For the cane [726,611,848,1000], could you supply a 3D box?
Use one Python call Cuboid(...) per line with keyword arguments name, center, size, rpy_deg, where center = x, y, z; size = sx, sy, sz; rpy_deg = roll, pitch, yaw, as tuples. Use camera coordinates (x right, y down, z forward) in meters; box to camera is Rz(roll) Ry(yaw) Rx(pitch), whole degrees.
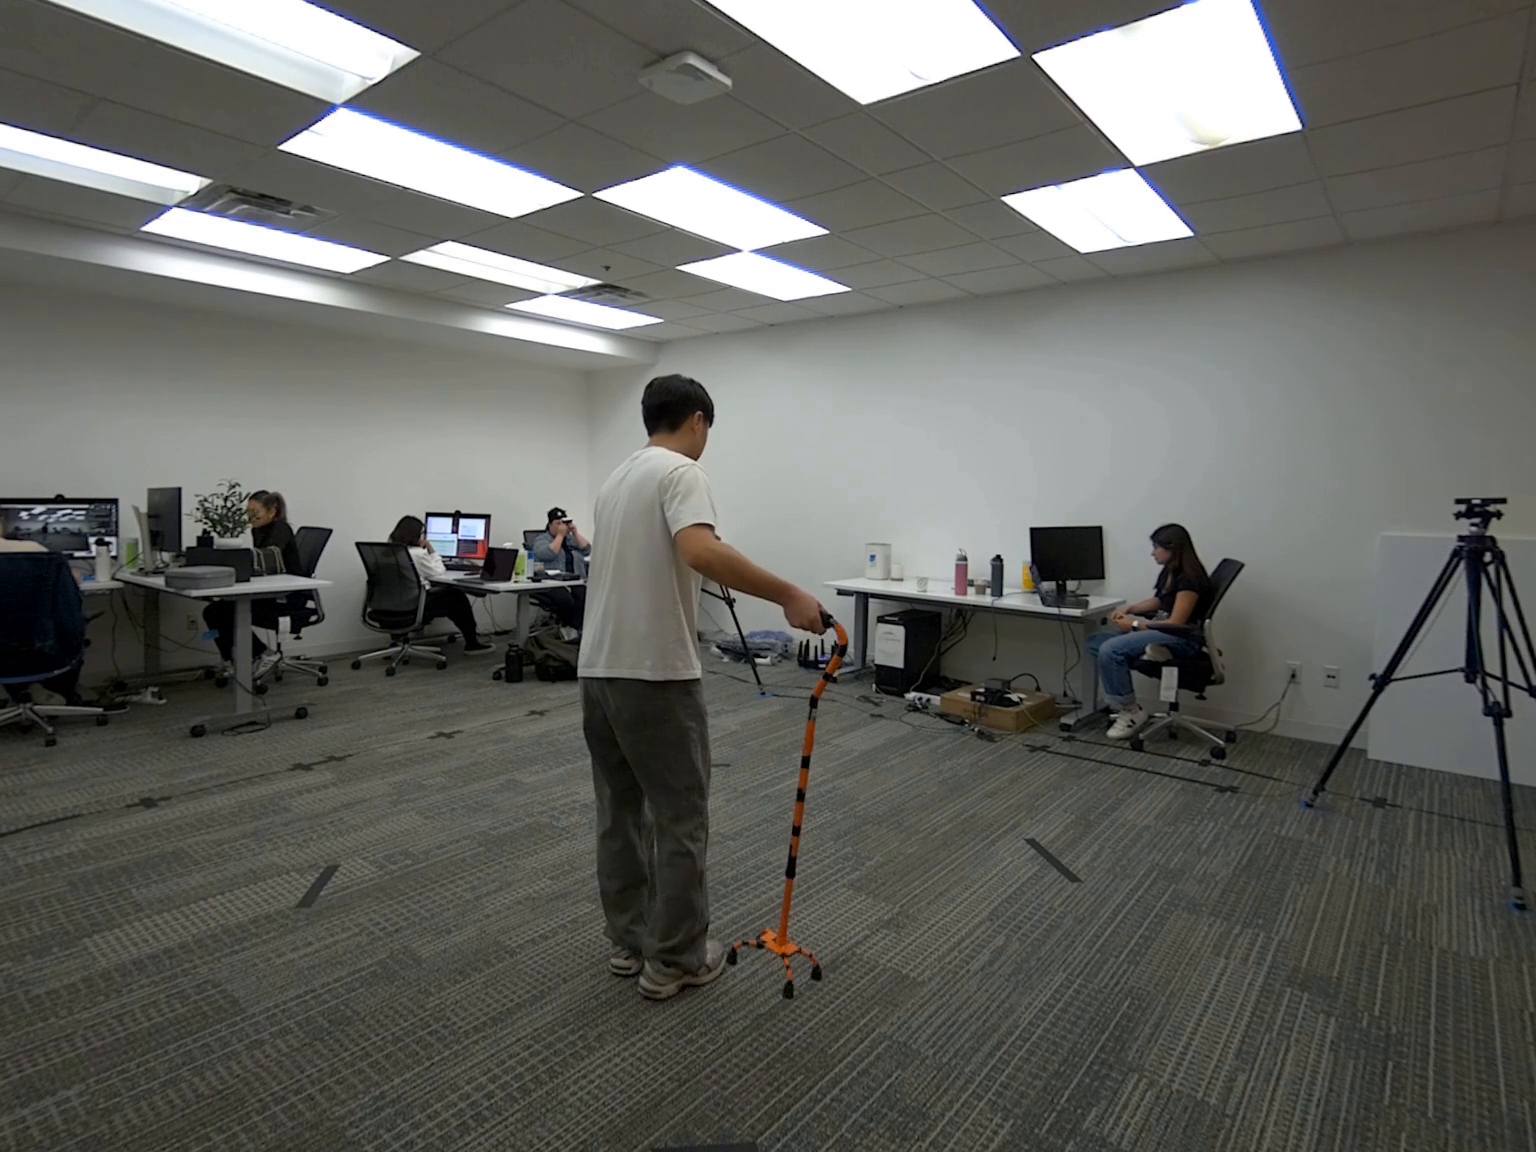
Cuboid(name="cane", center=(0.077, 0.565, 2.131), size=(0.213, 0.906, 0.147), rpy_deg=(9, 3, 35))
